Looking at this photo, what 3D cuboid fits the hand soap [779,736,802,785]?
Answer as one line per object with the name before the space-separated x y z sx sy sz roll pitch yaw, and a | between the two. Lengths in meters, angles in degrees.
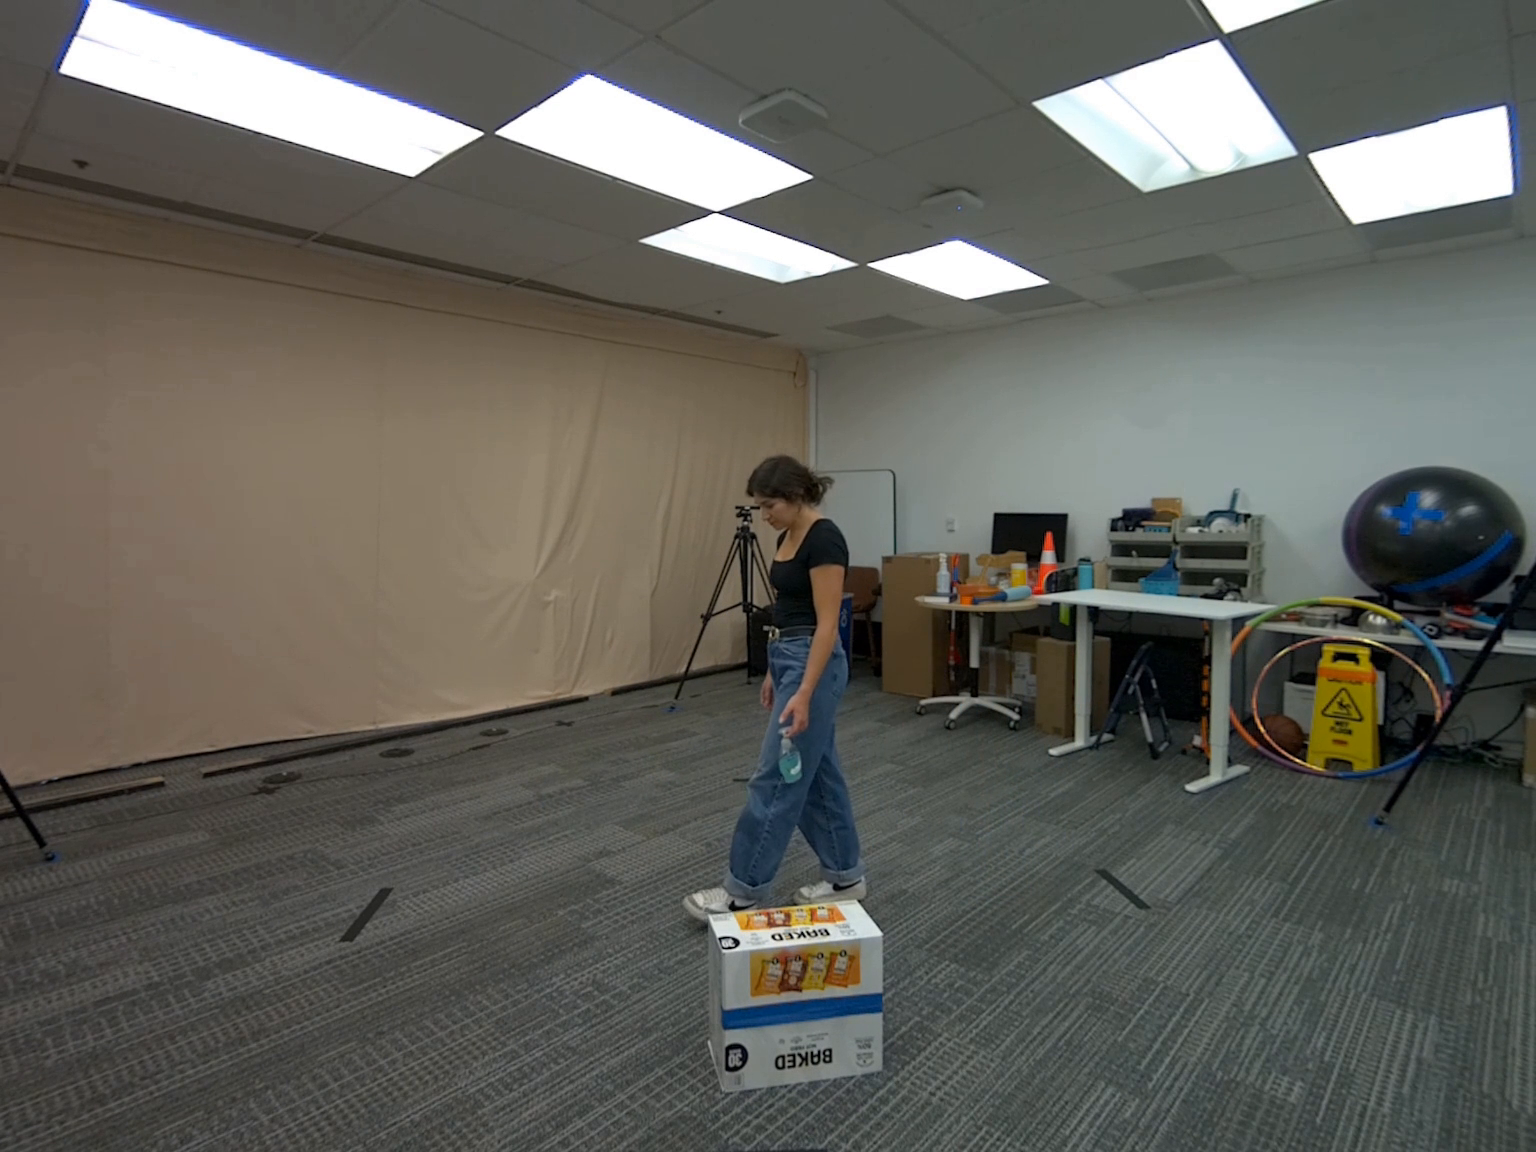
hand soap | 0.067 0.556 2.622 0.045 0.166 0.082 3 16 42
